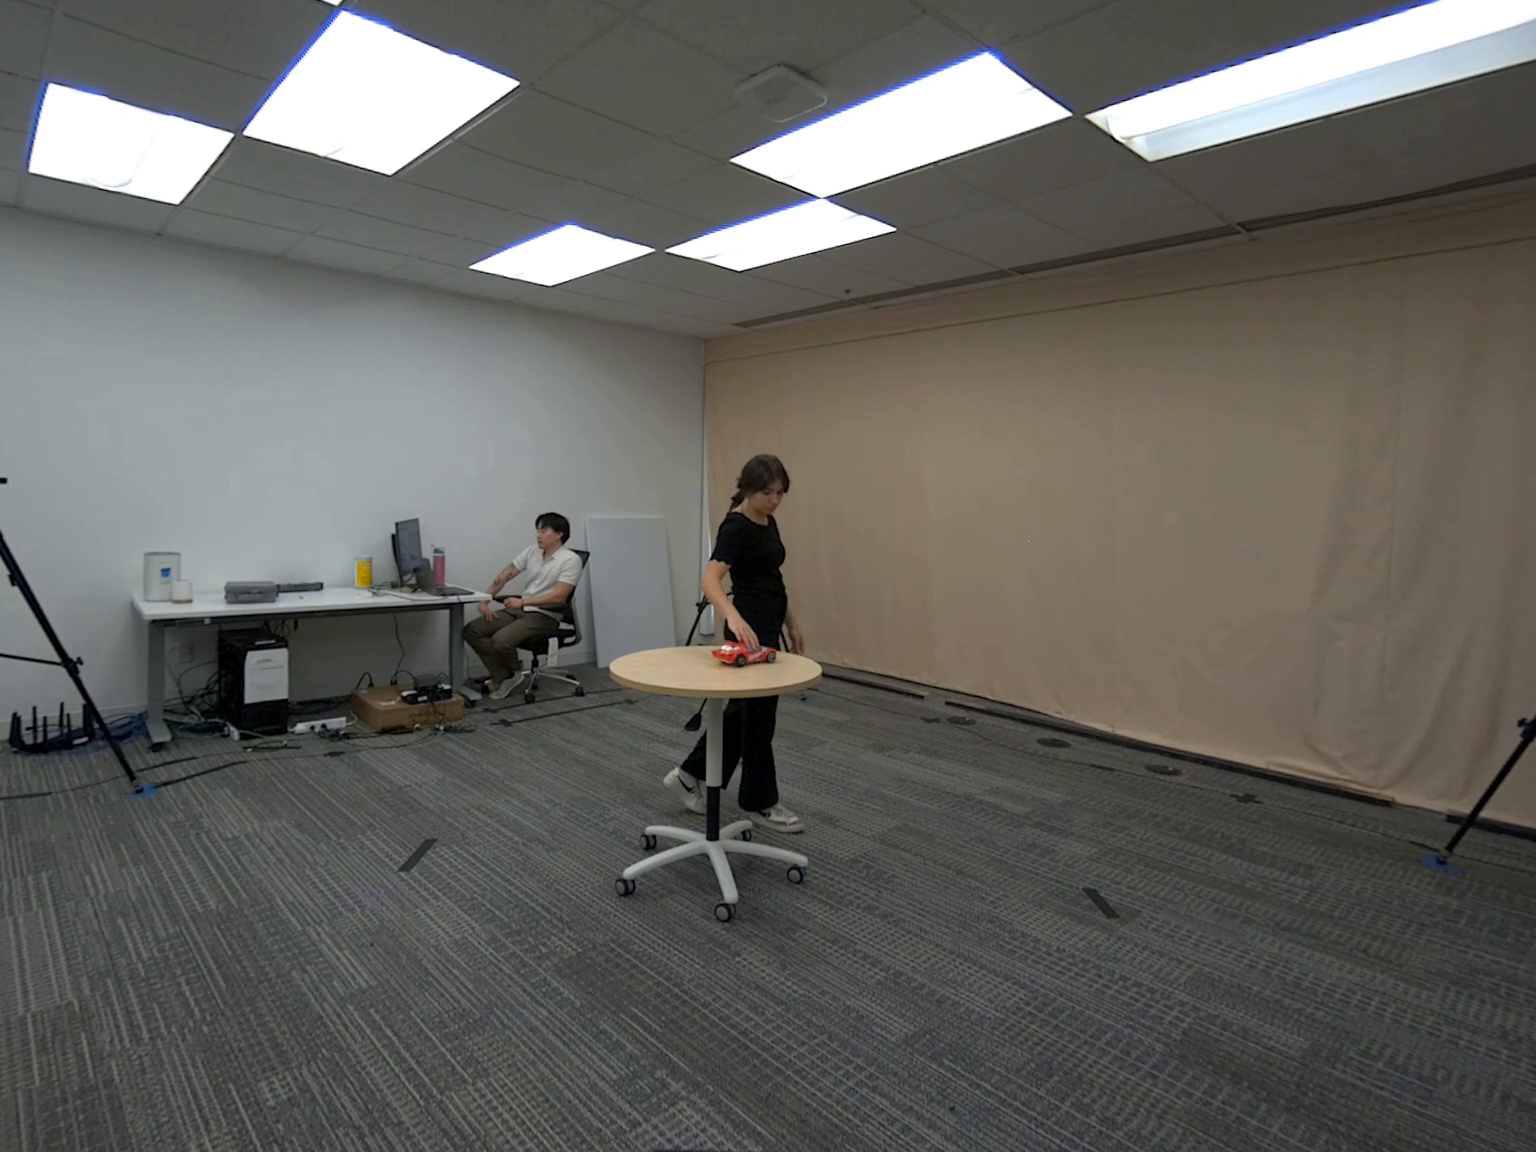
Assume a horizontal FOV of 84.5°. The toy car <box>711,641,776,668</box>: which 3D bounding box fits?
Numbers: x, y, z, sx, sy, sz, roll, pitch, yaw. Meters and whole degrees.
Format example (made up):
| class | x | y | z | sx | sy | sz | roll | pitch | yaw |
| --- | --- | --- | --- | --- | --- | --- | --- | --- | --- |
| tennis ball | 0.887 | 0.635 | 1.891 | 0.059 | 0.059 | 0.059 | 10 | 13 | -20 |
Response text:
| class | x | y | z | sx | sy | sz | roll | pitch | yaw |
| --- | --- | --- | --- | --- | --- | --- | --- | --- | --- |
| toy car | -0.106 | 0.292 | 3.092 | 0.248 | 0.083 | 0.133 | 11 | -2 | -38 |
